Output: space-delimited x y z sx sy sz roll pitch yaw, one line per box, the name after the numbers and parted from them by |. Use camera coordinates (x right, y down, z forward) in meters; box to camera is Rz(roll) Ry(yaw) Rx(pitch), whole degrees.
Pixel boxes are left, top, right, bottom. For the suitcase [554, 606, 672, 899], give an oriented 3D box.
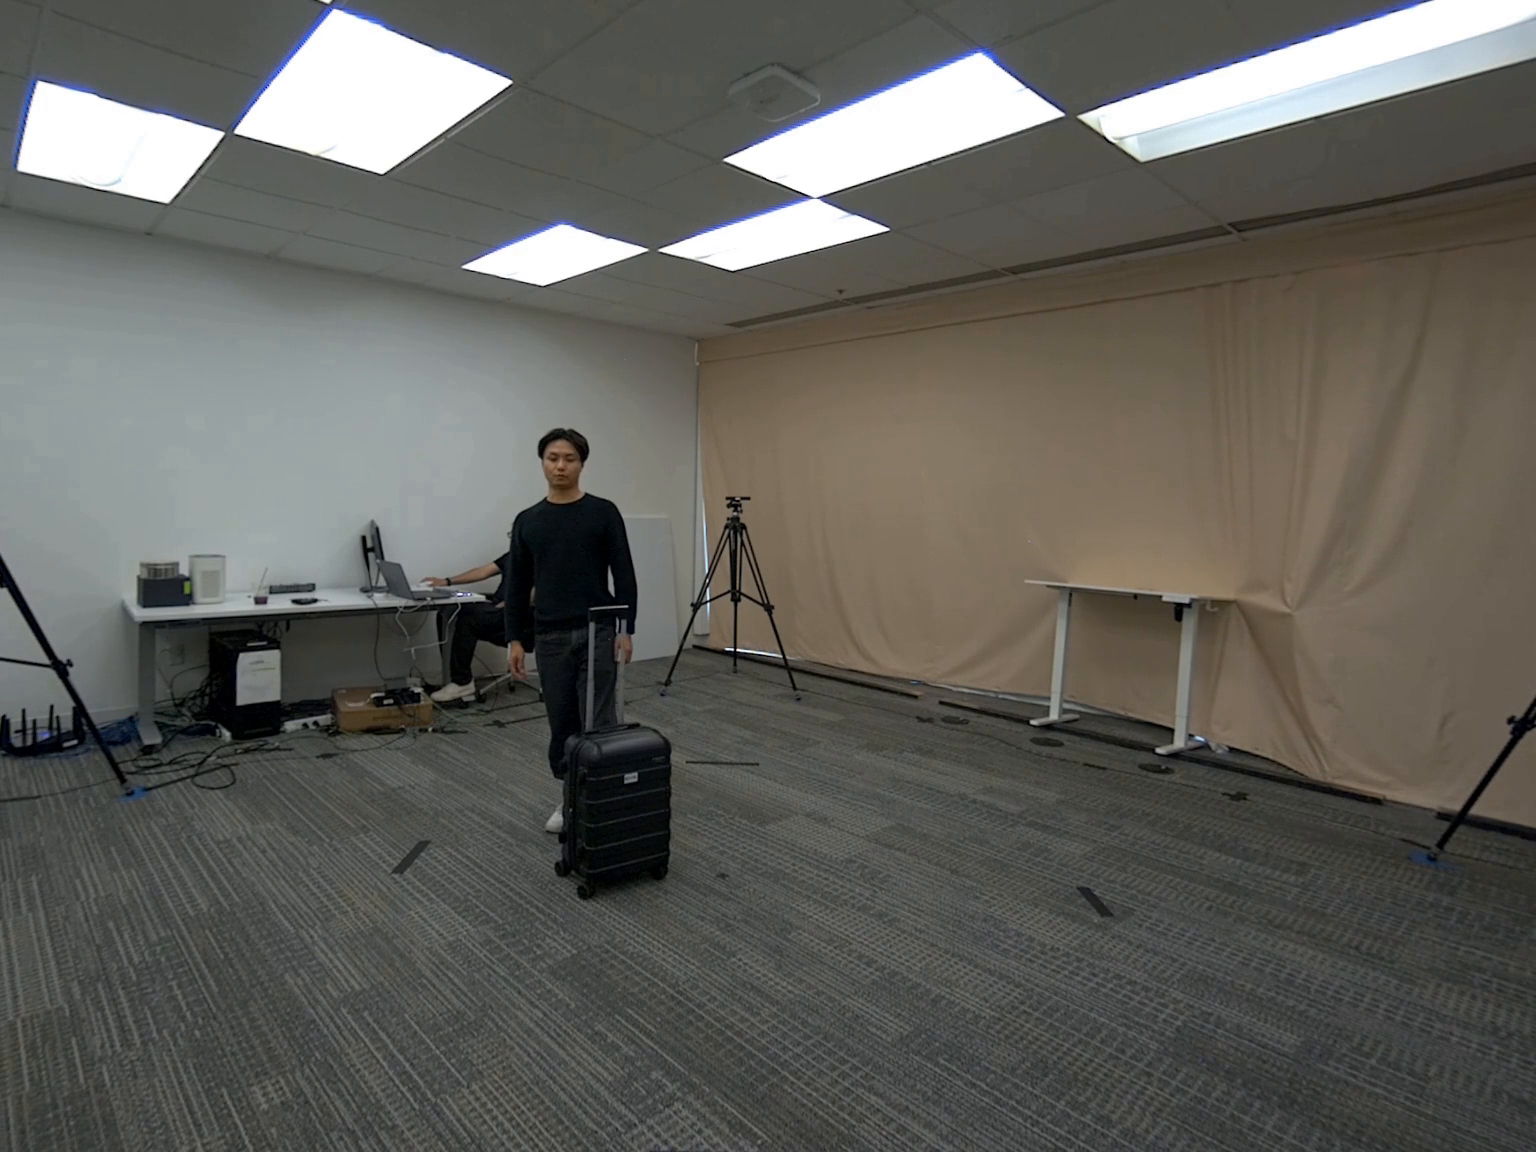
-0.544 0.626 3.035 0.375 0.975 0.264 0 7 -36 | suitcase
